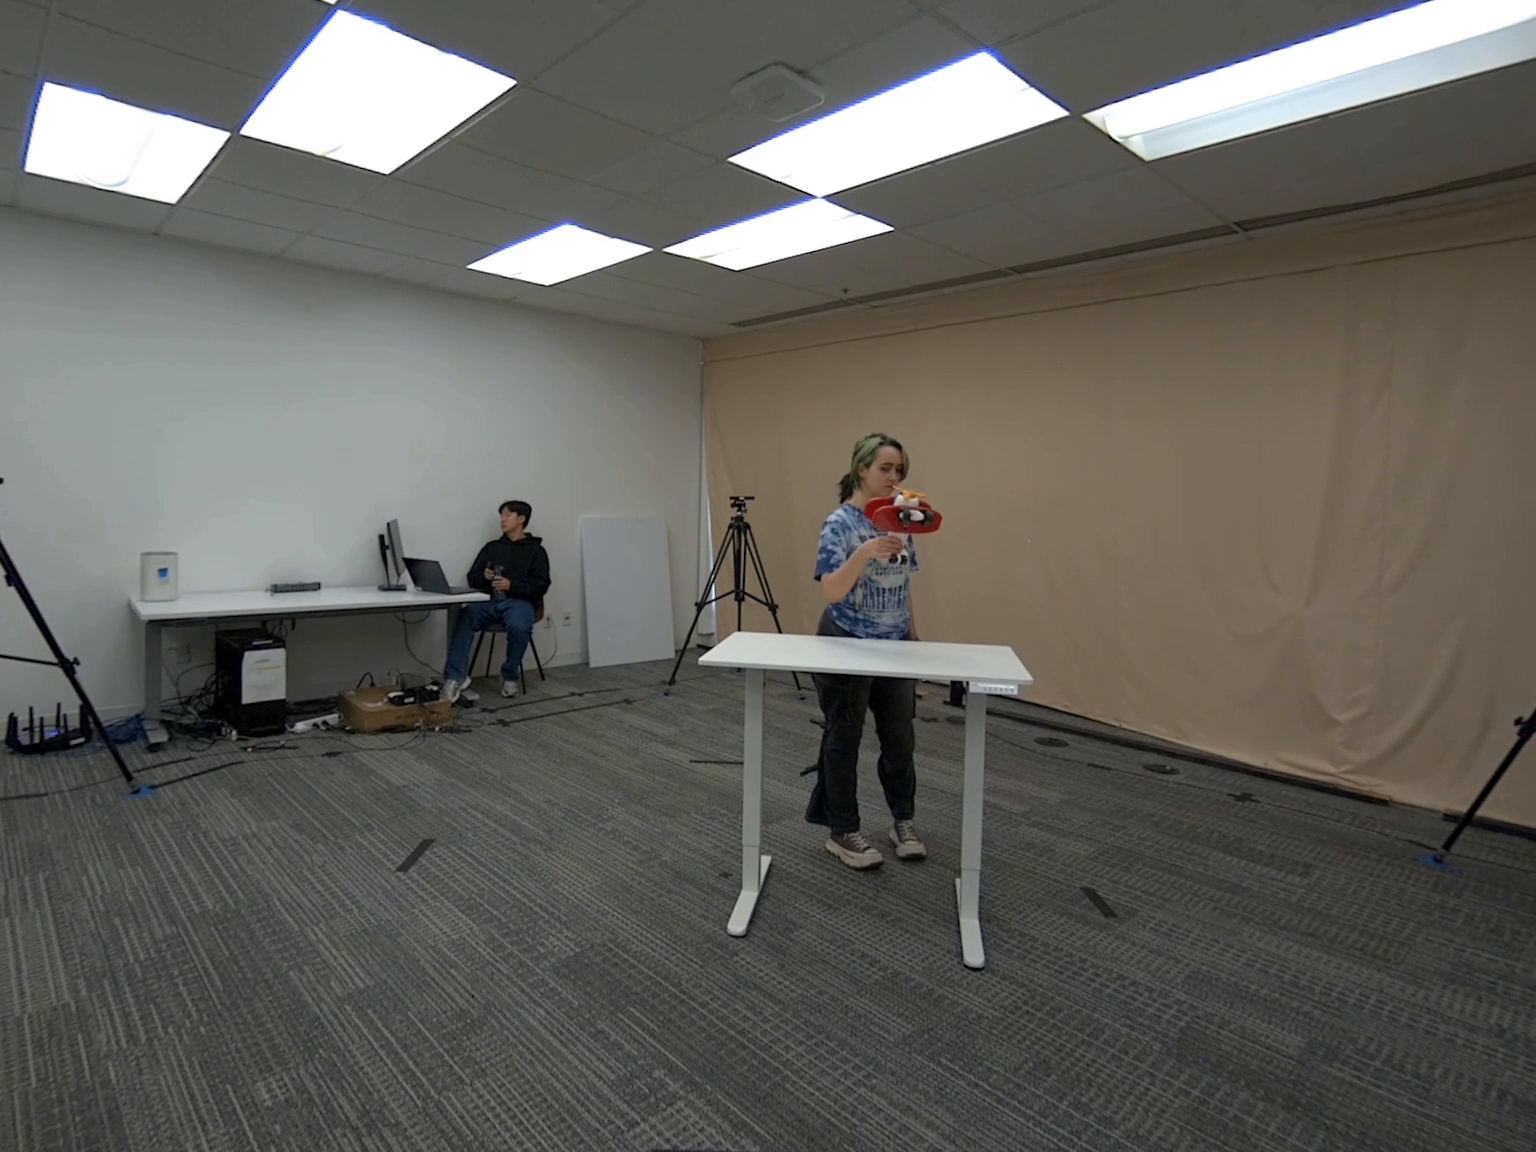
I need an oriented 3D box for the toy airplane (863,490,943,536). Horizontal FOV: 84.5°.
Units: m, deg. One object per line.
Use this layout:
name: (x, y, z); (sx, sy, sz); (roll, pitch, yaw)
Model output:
toy airplane: (0.431, -0.166, 2.873); (0.244, 0.259, 0.161); (28, 27, -32)
